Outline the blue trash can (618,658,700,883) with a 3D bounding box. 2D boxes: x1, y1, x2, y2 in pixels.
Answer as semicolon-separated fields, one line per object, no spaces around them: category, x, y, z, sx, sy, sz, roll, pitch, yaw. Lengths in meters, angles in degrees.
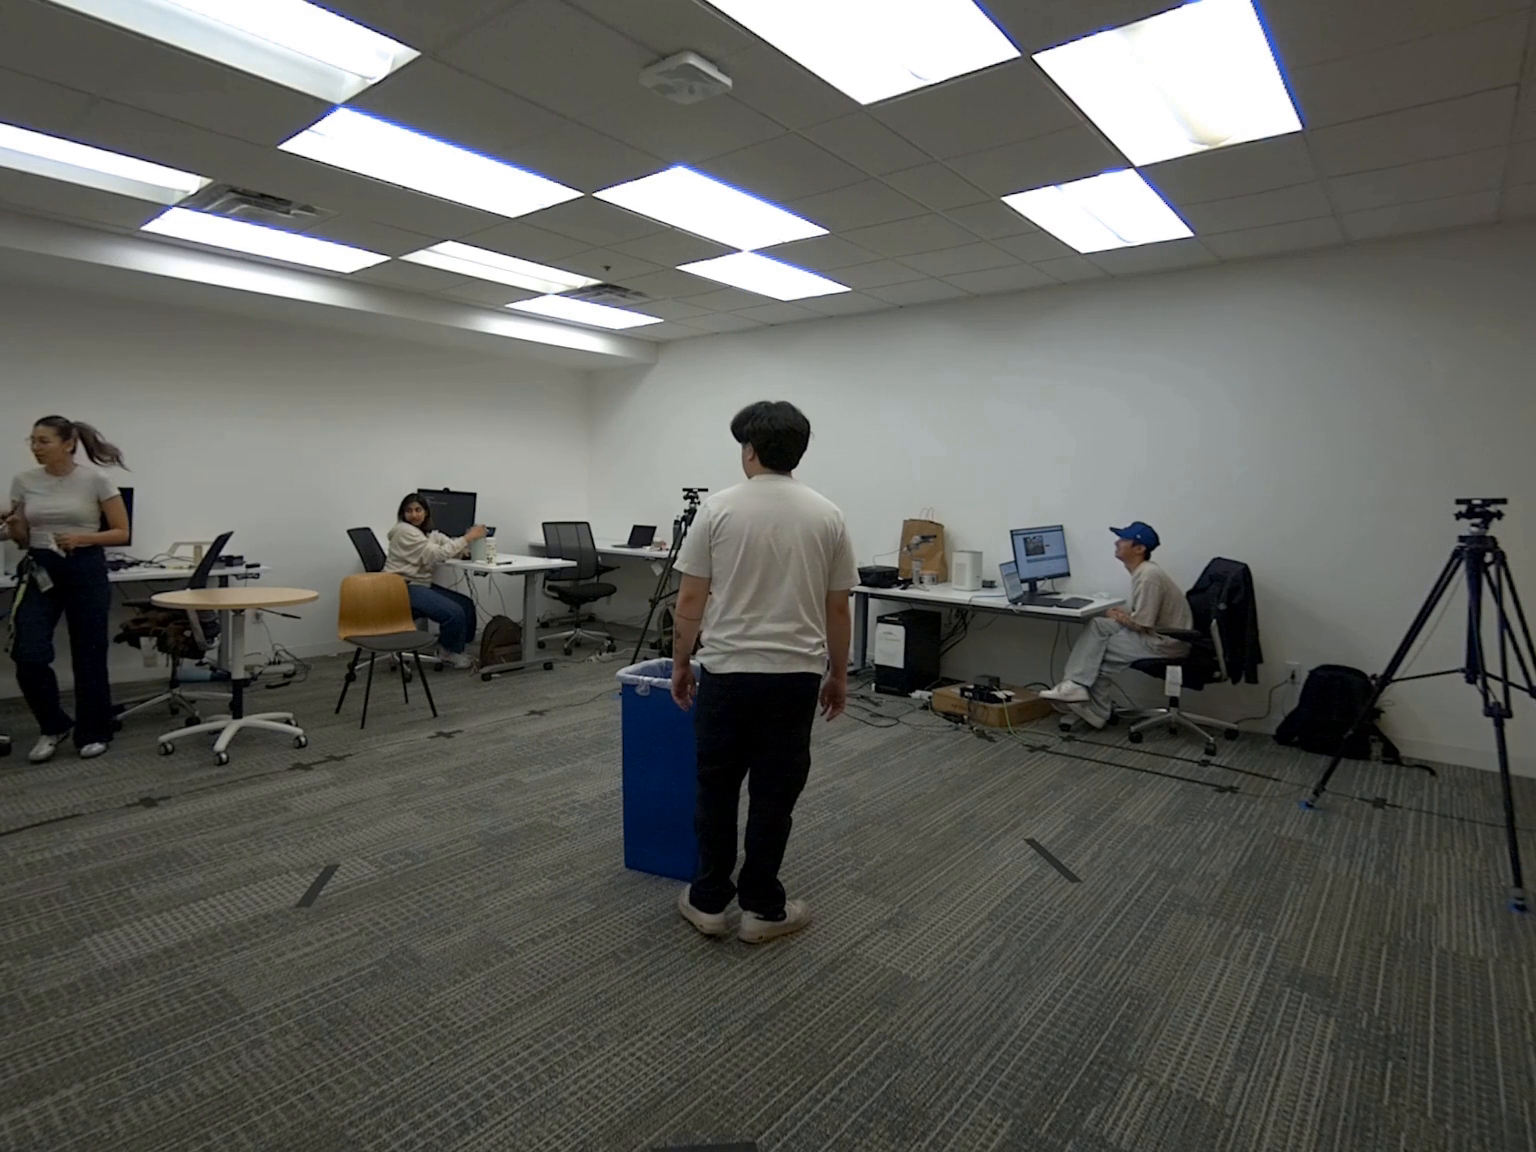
blue trash can;-0.342;0.701;3.180;0.387;0.712;0.366;3;3;23
